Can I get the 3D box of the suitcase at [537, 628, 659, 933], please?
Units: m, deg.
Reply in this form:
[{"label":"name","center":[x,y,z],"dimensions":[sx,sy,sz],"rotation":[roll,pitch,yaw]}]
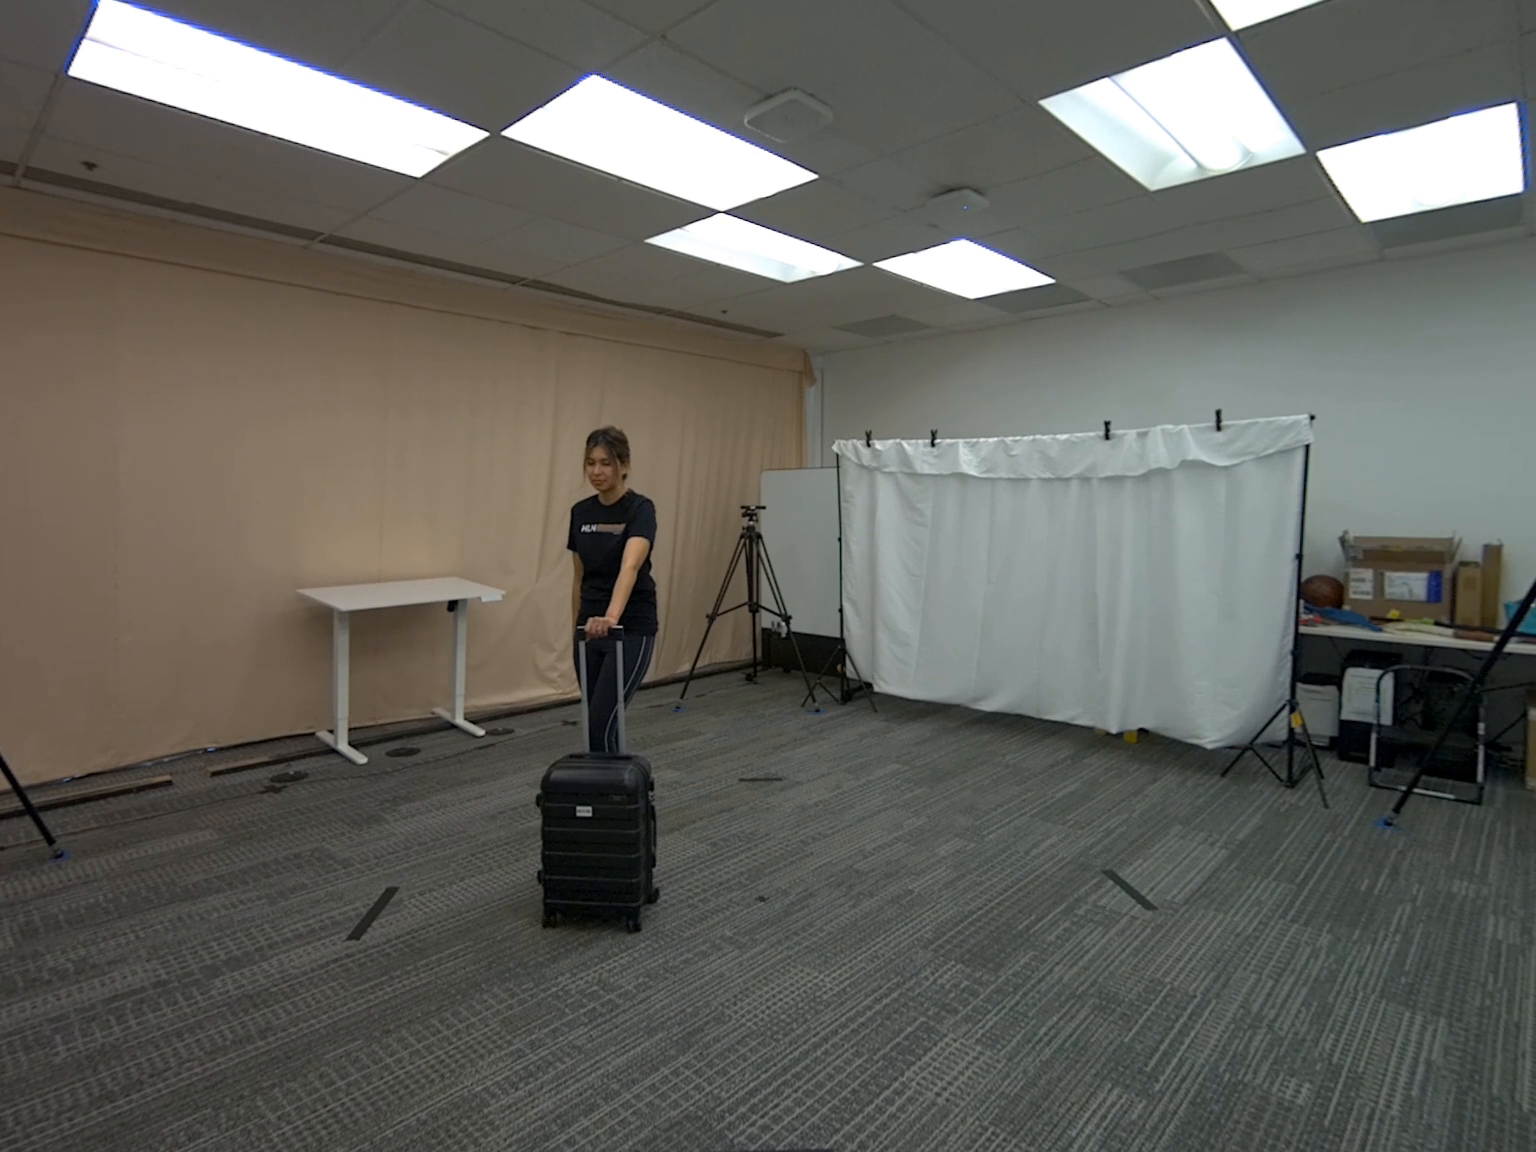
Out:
[{"label":"suitcase","center":[-0.575,0.683,2.829],"dimensions":[0.387,0.974,0.256],"rotation":[0,6,6]}]
